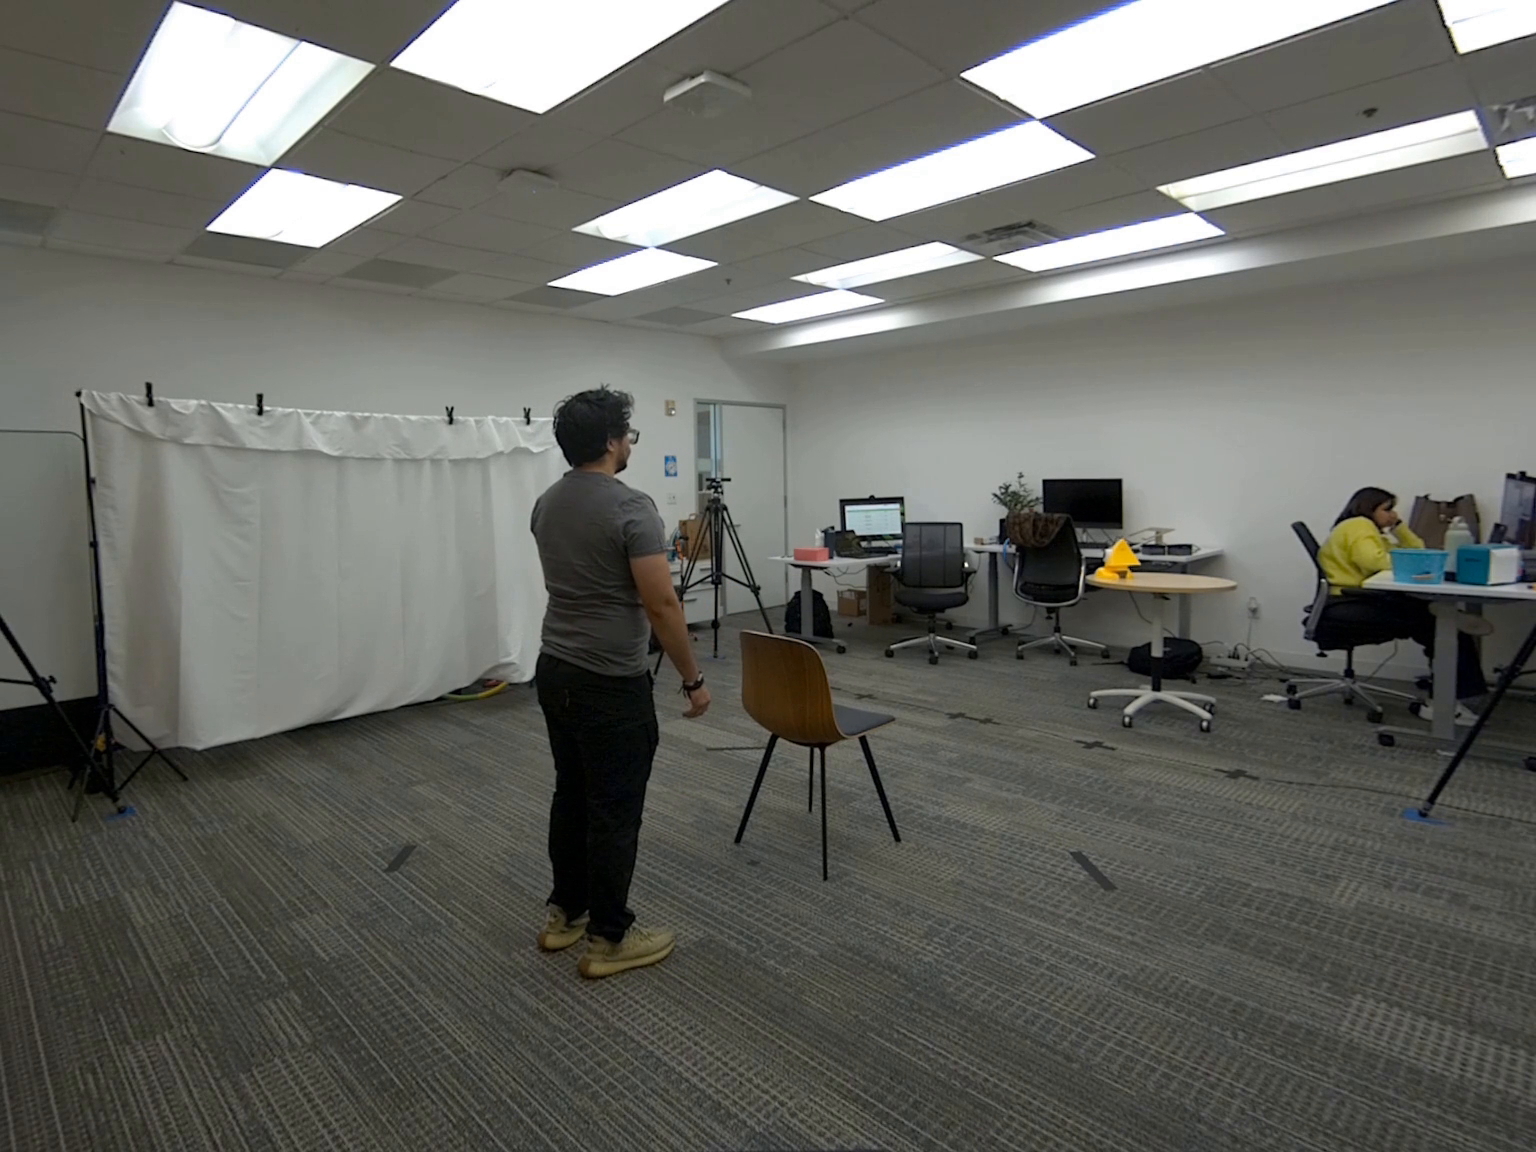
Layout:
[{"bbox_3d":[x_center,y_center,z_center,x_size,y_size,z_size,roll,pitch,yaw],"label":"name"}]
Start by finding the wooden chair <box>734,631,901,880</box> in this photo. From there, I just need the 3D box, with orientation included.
[{"bbox_3d":[0.188,0.596,3.244,0.493,0.871,0.511,3,10,44],"label":"wooden chair"}]
